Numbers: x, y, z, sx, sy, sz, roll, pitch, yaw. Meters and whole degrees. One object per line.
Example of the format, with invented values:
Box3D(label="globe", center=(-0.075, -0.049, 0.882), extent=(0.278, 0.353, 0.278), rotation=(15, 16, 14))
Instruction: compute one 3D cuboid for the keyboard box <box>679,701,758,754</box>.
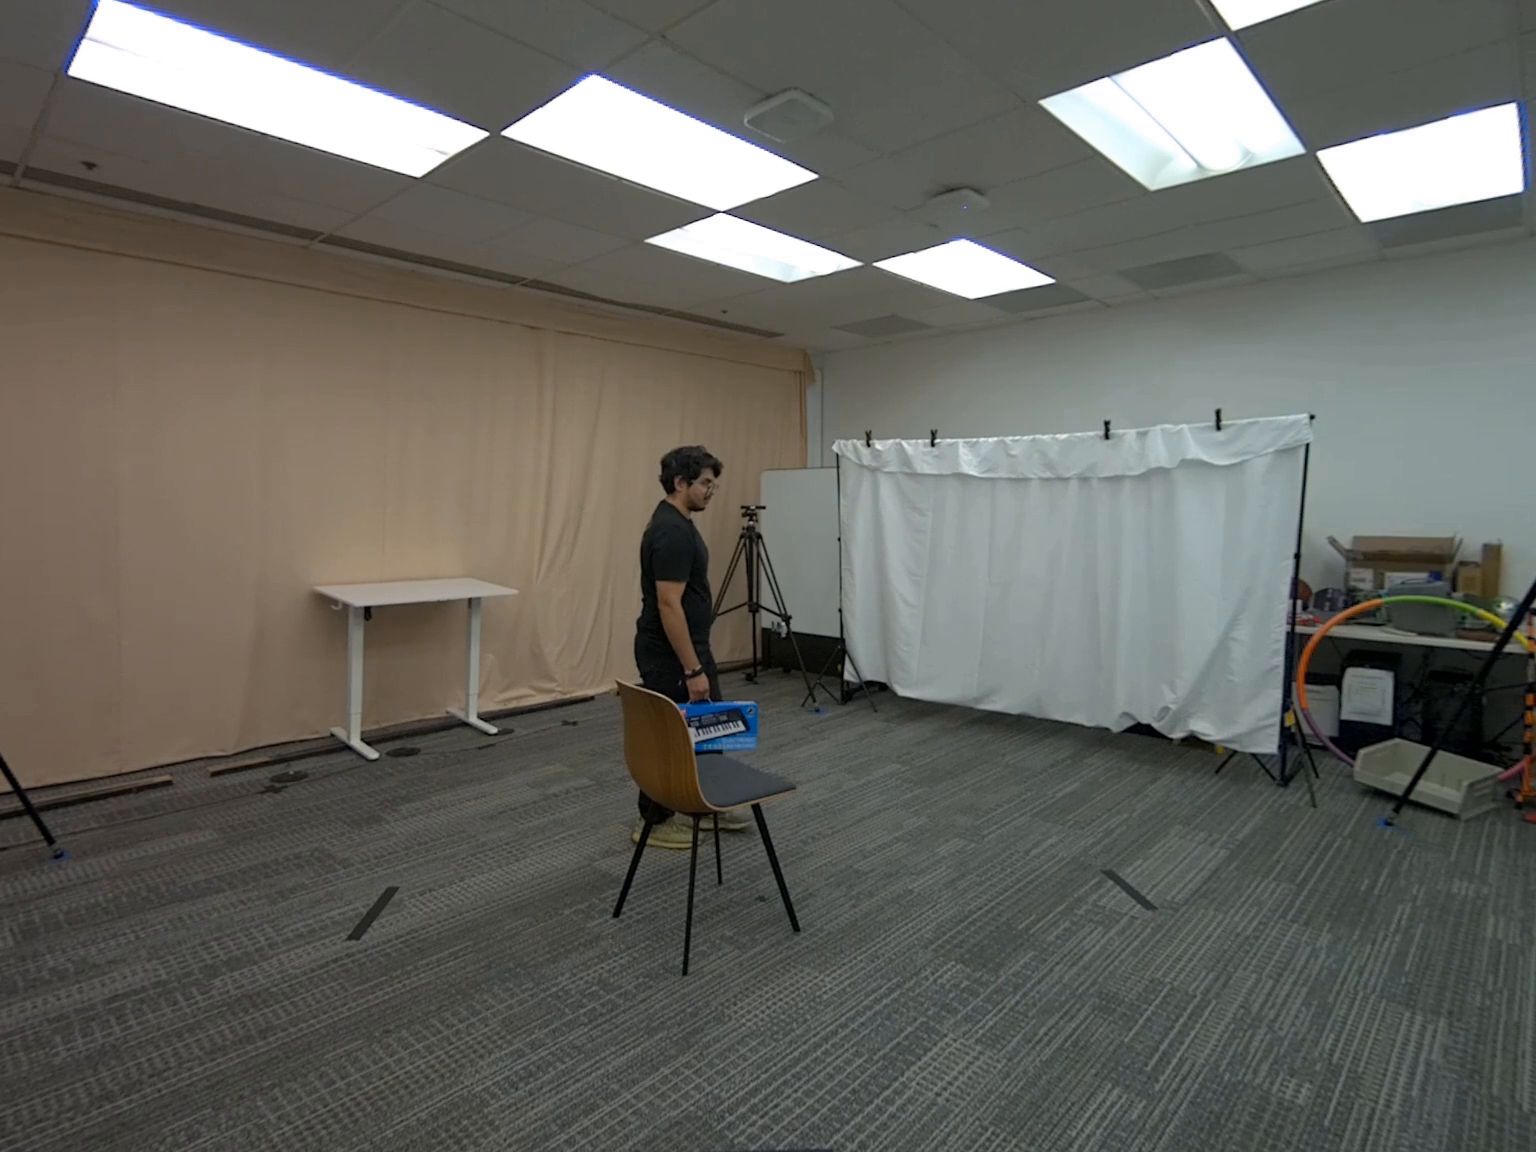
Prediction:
Box3D(label="keyboard box", center=(-0.261, 0.569, 3.222), extent=(0.433, 0.175, 0.060), rotation=(-1, 3, -8))
